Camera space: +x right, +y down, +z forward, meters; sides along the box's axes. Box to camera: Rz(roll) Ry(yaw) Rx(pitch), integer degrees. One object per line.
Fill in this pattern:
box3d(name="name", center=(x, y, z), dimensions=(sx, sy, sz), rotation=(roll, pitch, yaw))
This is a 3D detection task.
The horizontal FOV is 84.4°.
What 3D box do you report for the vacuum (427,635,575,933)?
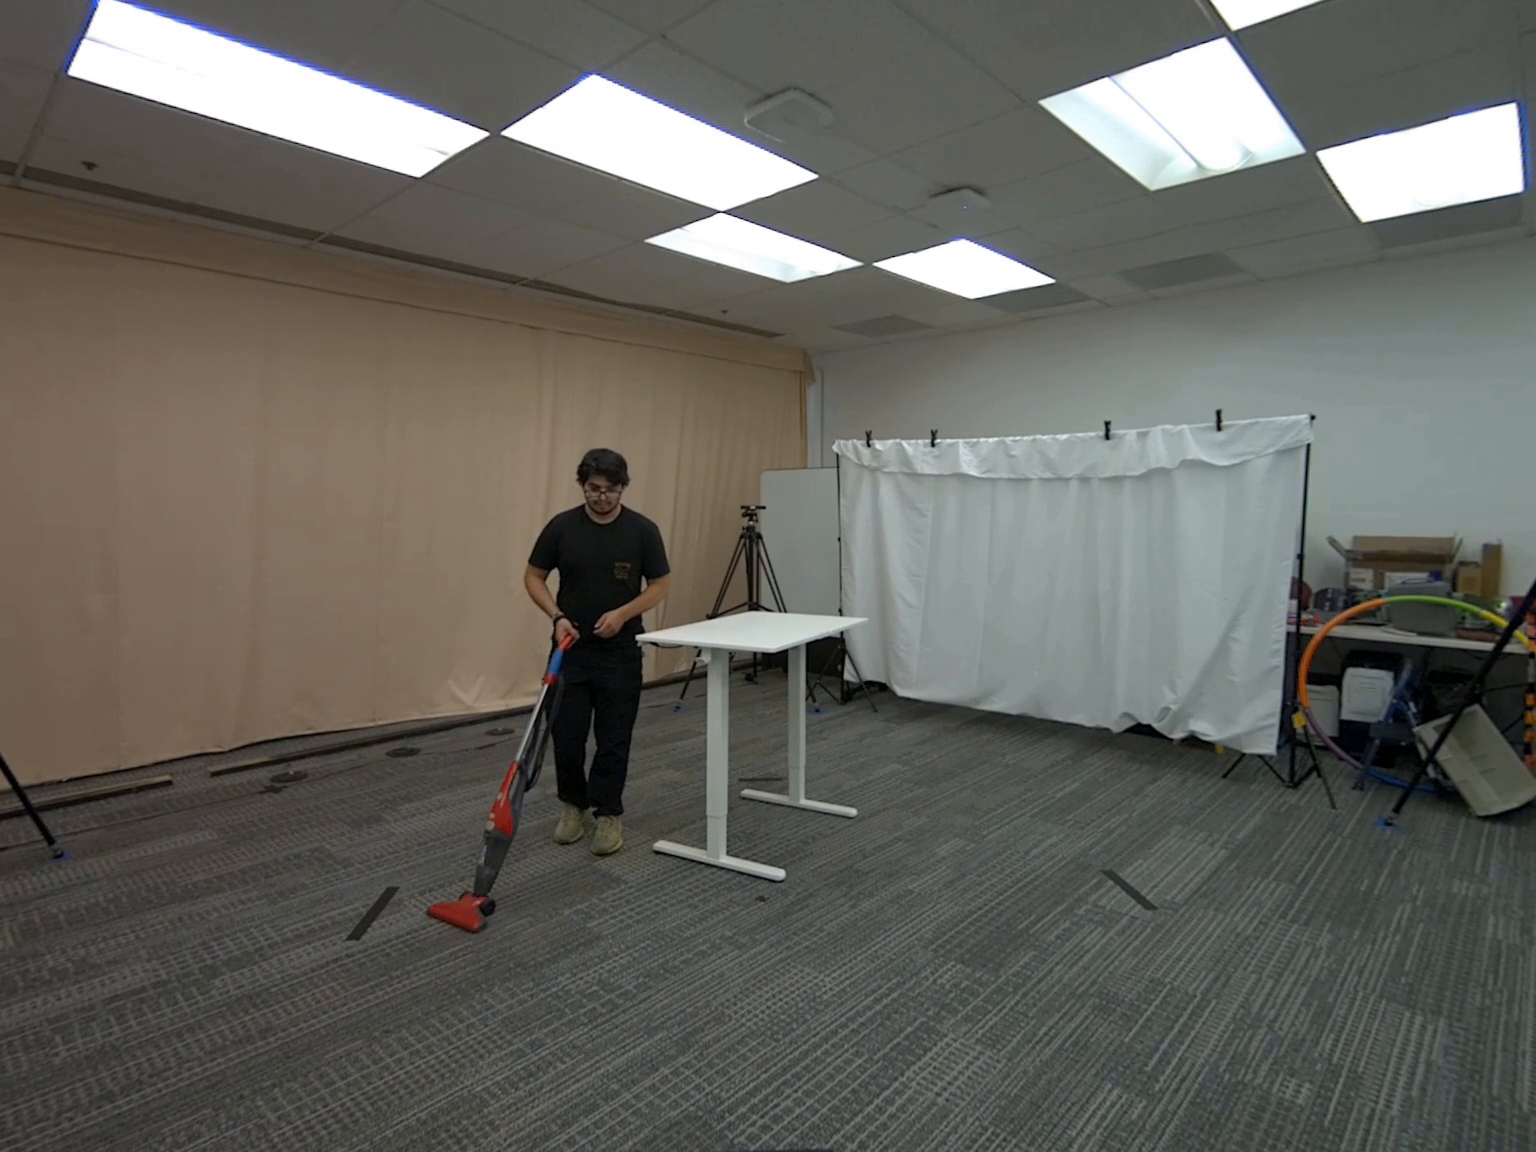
box3d(name="vacuum", center=(-0.889, 0.690, 3.082), dimensions=(0.259, 1.055, 0.139), rotation=(4, -27, 26))
